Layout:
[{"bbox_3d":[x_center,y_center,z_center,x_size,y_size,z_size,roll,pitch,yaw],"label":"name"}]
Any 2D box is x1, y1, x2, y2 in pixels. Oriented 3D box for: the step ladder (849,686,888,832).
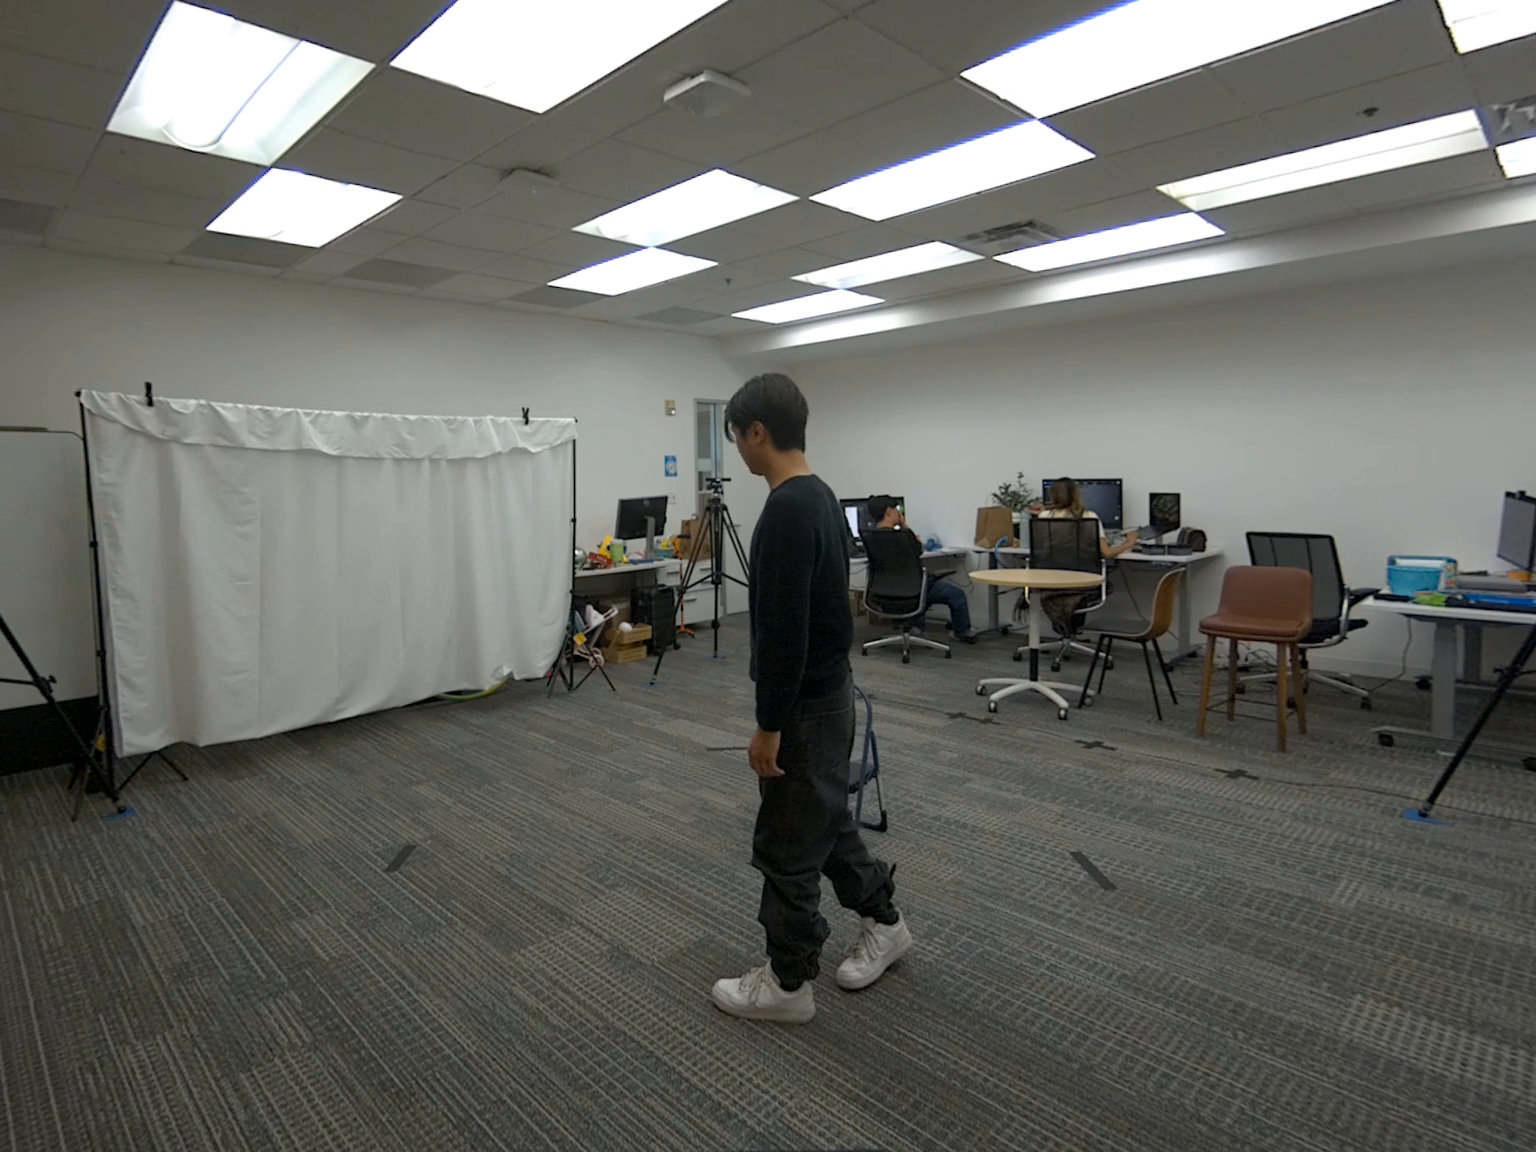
[{"bbox_3d":[0.214,0.710,3.323,0.442,0.604,0.341,2,5,32],"label":"step ladder"}]
